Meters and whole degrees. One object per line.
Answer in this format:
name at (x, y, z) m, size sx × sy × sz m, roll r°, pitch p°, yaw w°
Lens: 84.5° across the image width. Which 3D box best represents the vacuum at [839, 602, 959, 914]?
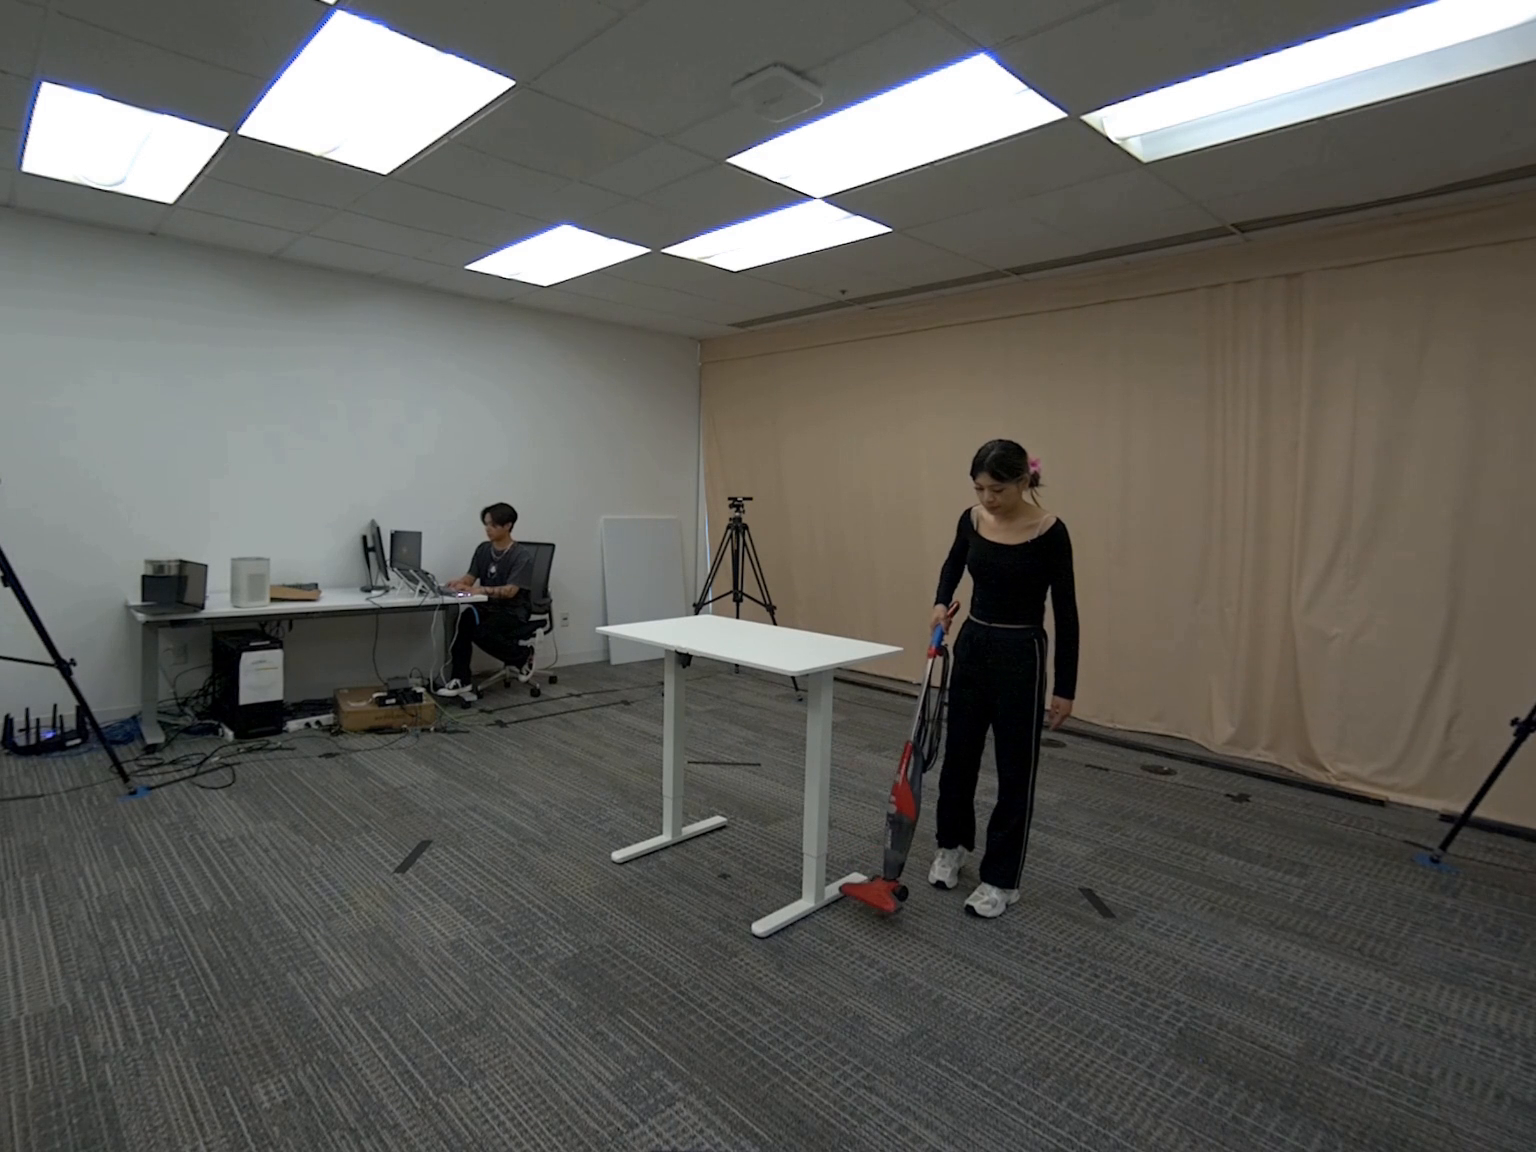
vacuum at (0.515, 0.592, 2.917) m, size 0.140 × 1.056 × 0.258 m, roll 25°, pitch -16°, yaw -31°
